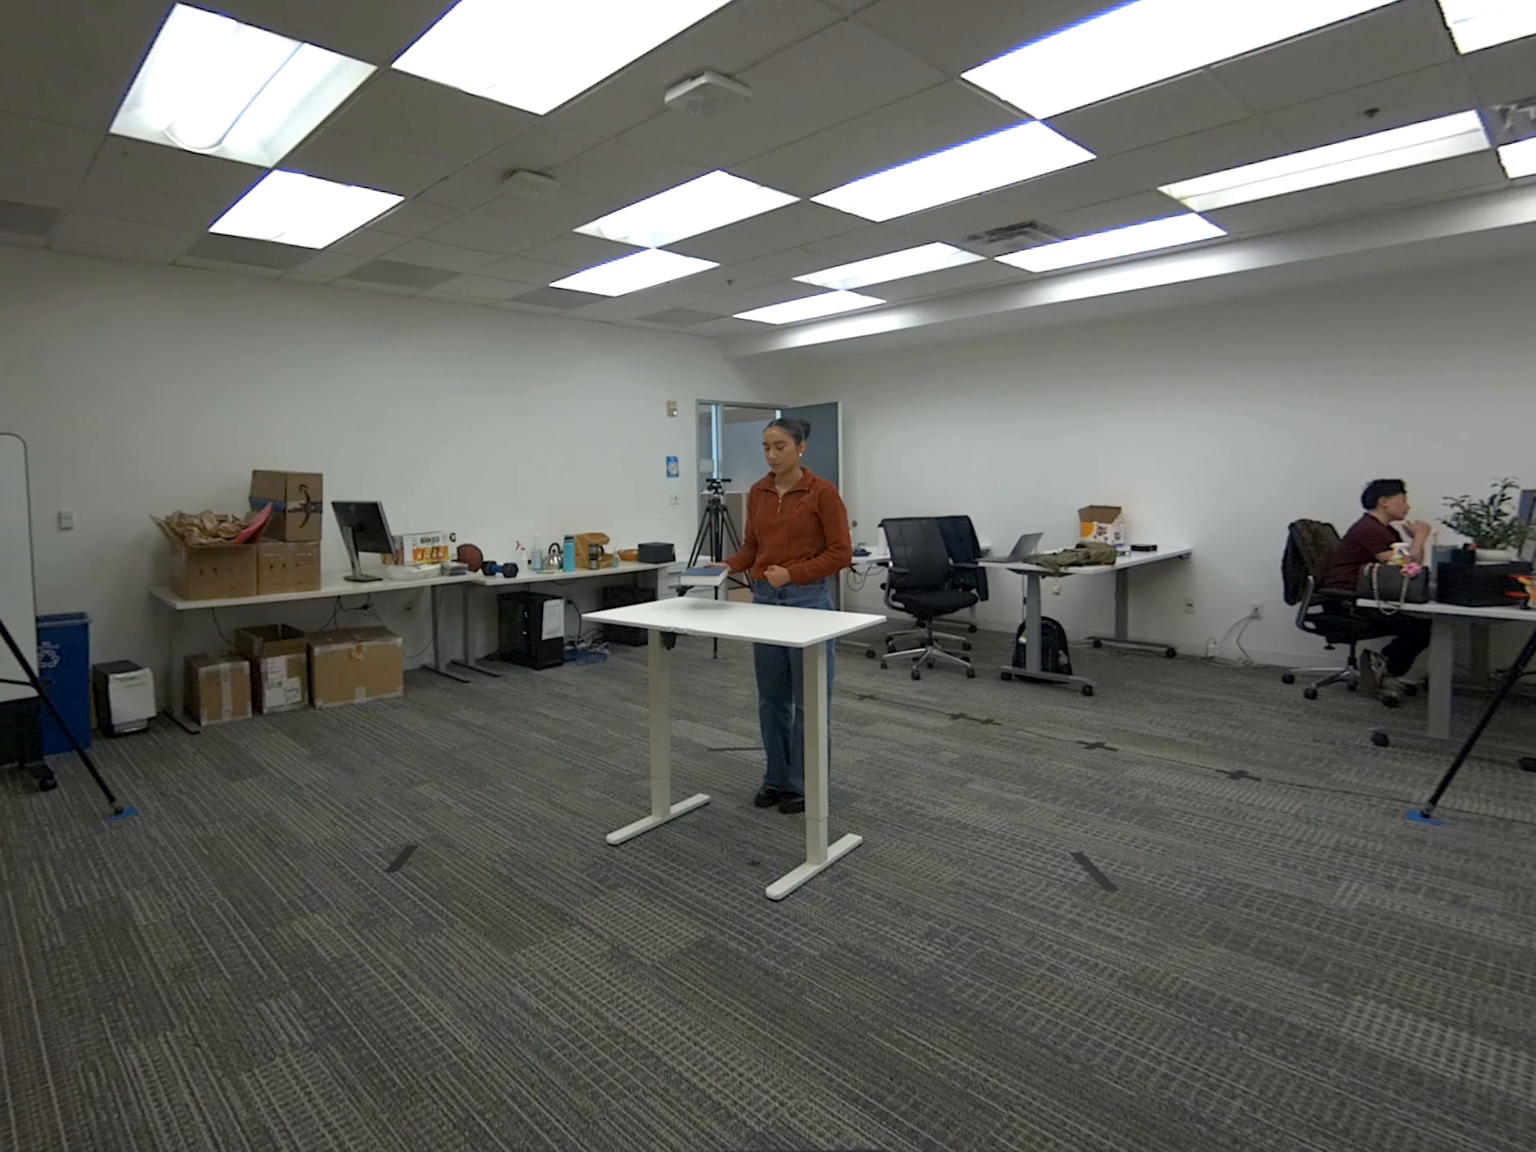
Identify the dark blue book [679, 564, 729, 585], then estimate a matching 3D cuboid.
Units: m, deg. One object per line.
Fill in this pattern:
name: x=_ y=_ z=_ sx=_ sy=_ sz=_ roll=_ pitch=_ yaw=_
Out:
dark blue book: x=-0.256 y=-0.009 z=3.480 sx=0.165 sy=0.045 sz=0.244 roll=1 pitch=10 yaw=9
